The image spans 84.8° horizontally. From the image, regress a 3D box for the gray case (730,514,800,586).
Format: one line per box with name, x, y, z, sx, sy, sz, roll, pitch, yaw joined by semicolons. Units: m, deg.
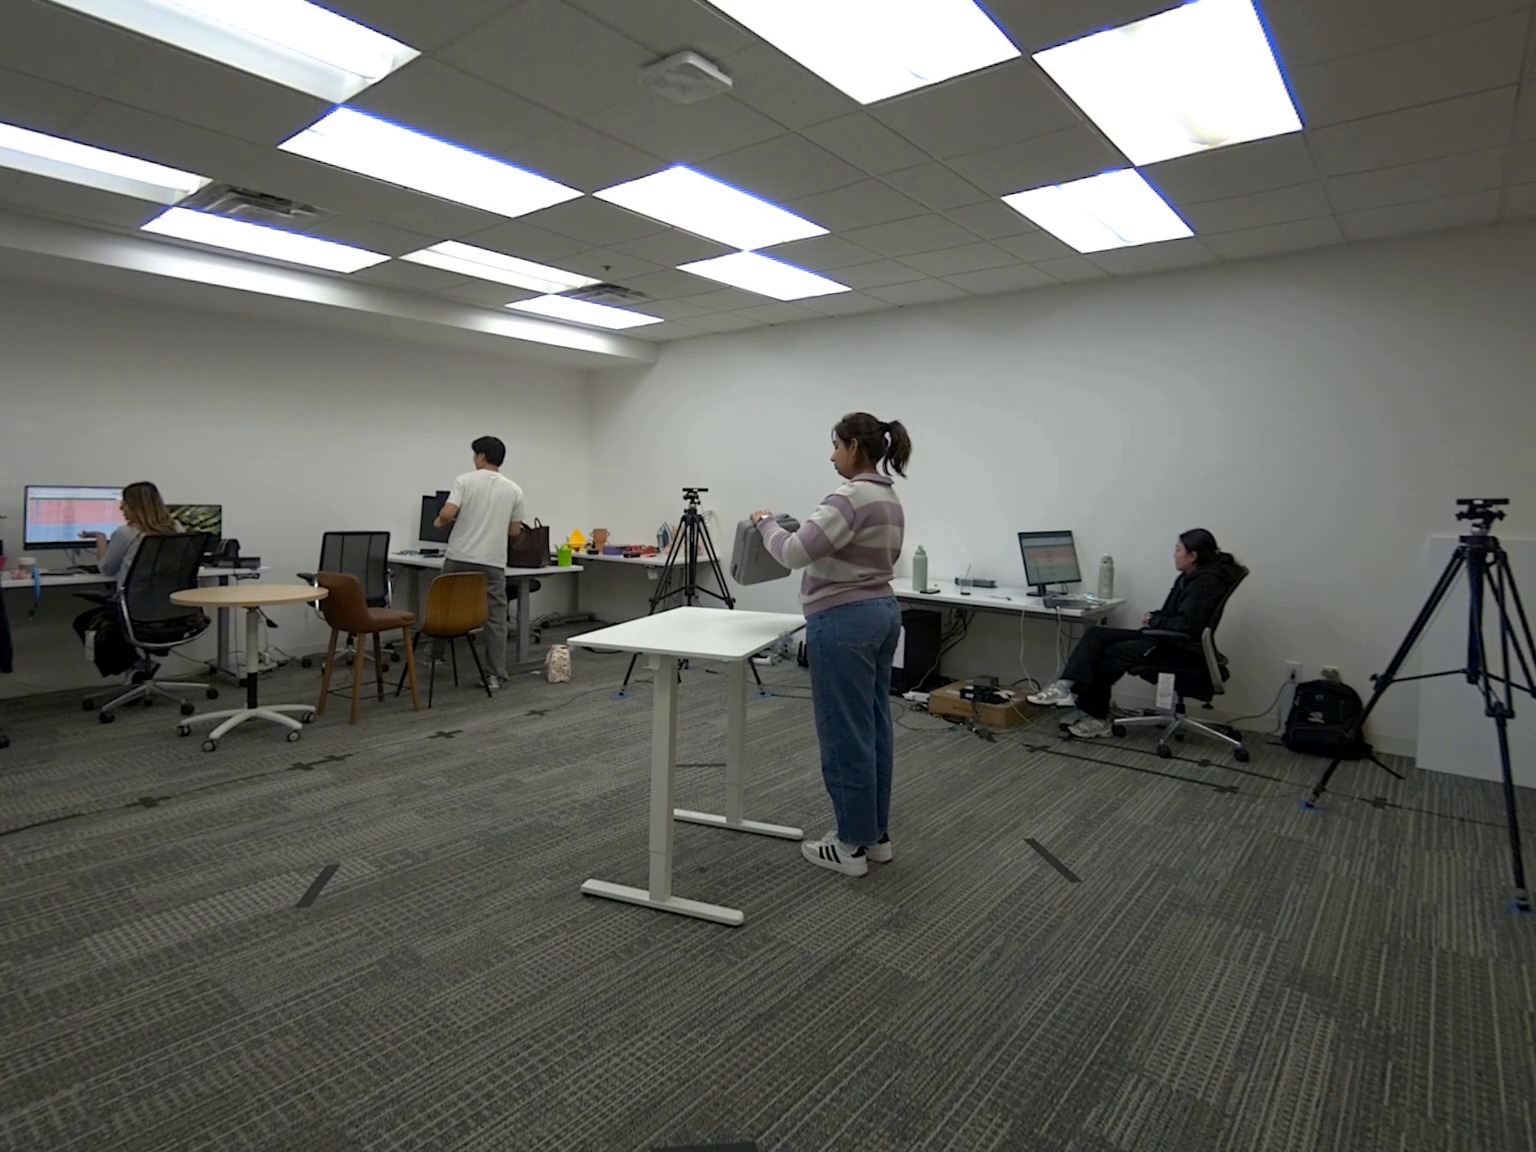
gray case;-0.017;-0.113;3.298;0.254;0.252;0.109;-10;30;-32
